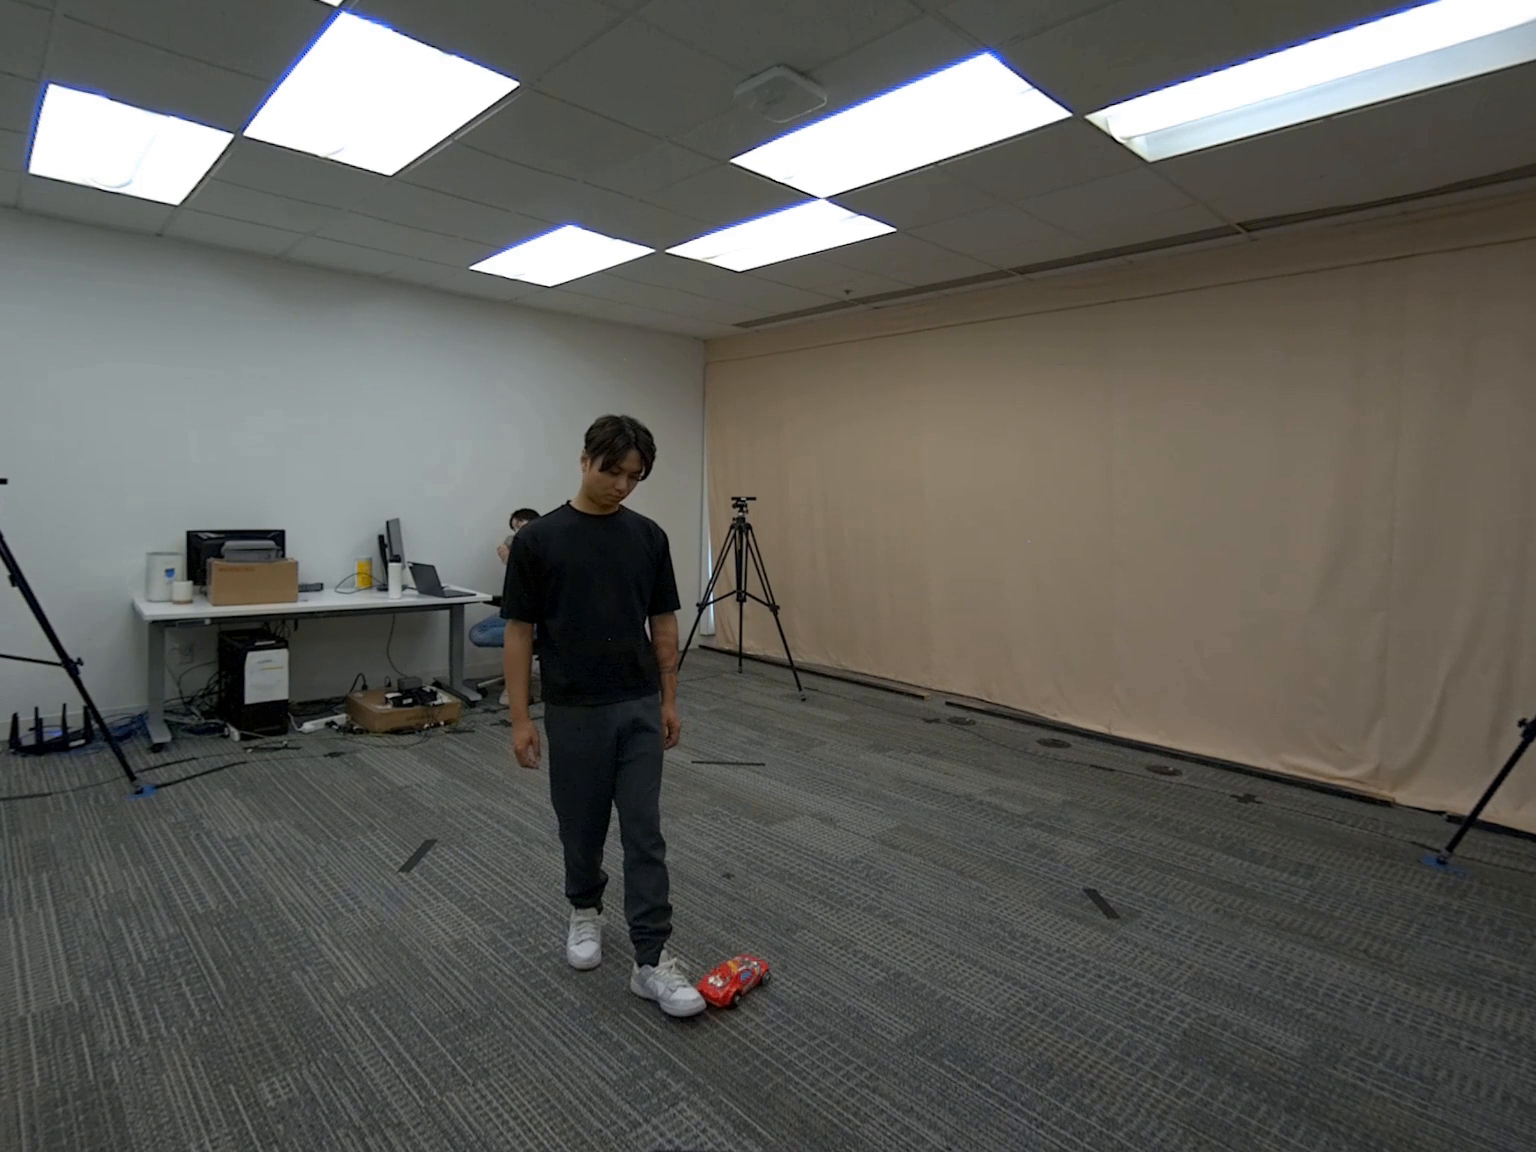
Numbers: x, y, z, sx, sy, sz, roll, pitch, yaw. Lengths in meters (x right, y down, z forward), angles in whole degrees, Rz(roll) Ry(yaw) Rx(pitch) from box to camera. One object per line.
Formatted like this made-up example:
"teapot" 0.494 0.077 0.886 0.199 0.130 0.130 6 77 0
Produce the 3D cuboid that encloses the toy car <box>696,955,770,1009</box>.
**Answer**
"toy car" -0.109 1.143 2.360 0.133 0.083 0.247 7 -5 36
